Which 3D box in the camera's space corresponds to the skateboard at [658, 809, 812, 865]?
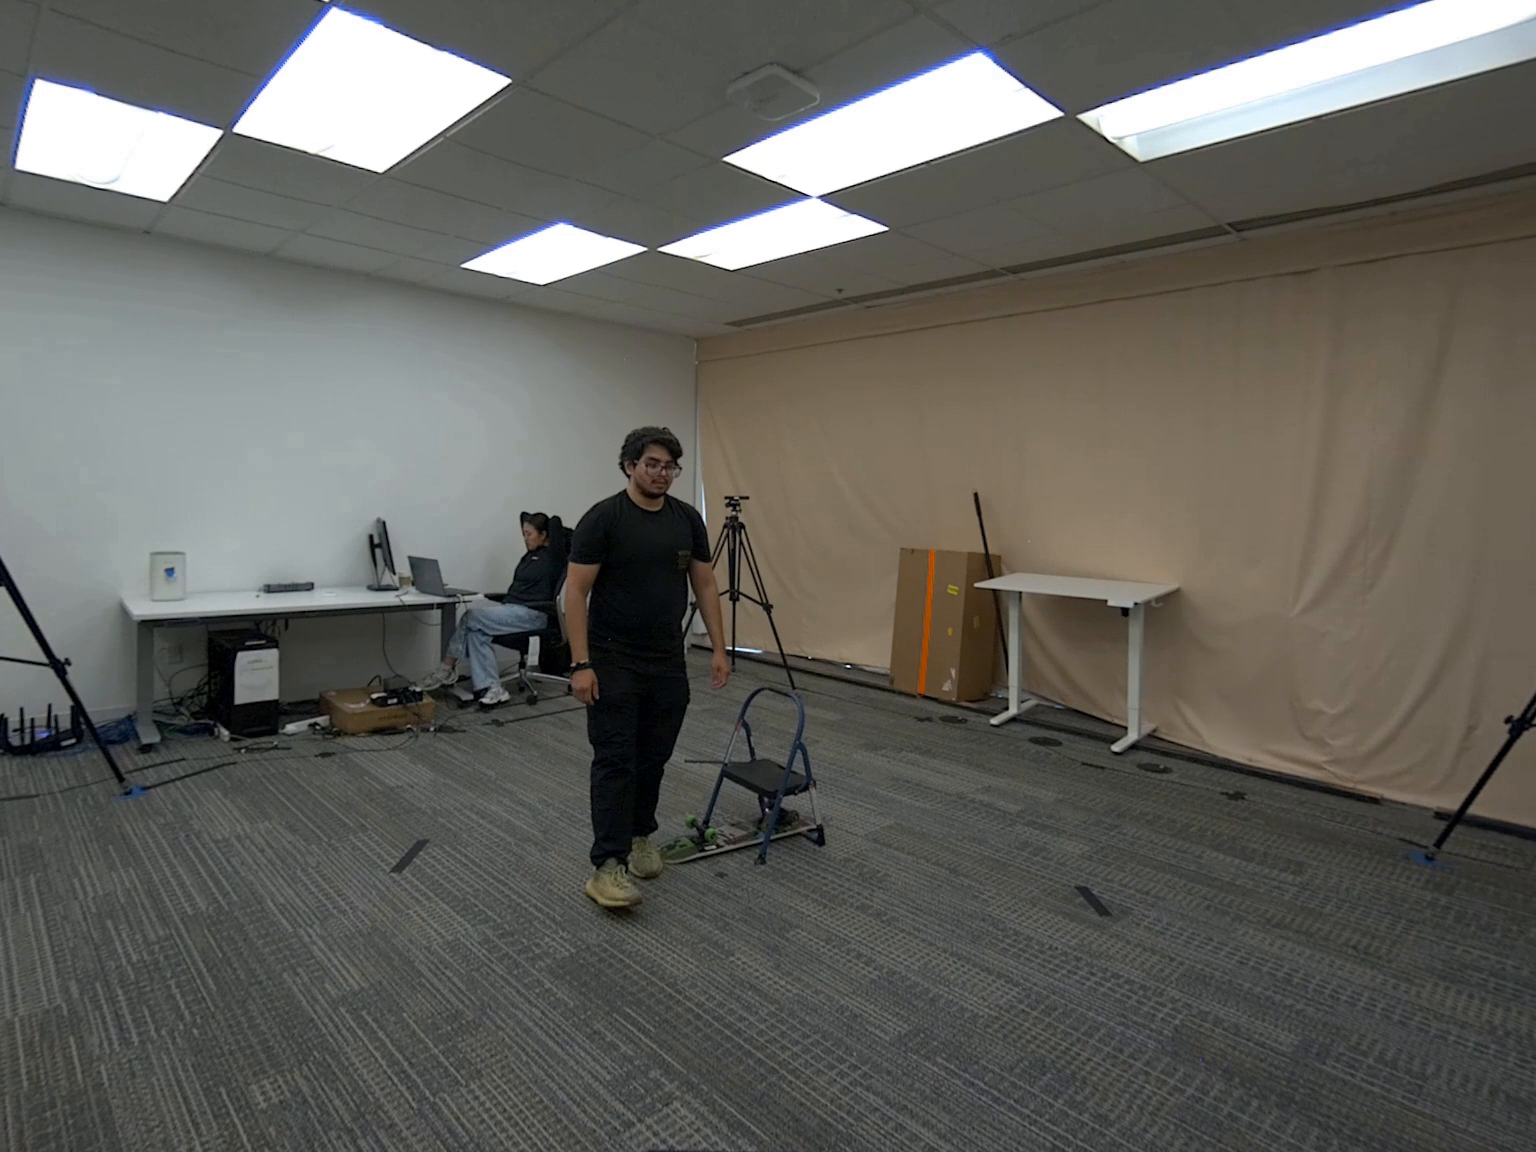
[{"bbox_3d":[-0.117,1.026,3.439,0.769,0.110,0.198,-3,9,-35],"label":"skateboard"}]
